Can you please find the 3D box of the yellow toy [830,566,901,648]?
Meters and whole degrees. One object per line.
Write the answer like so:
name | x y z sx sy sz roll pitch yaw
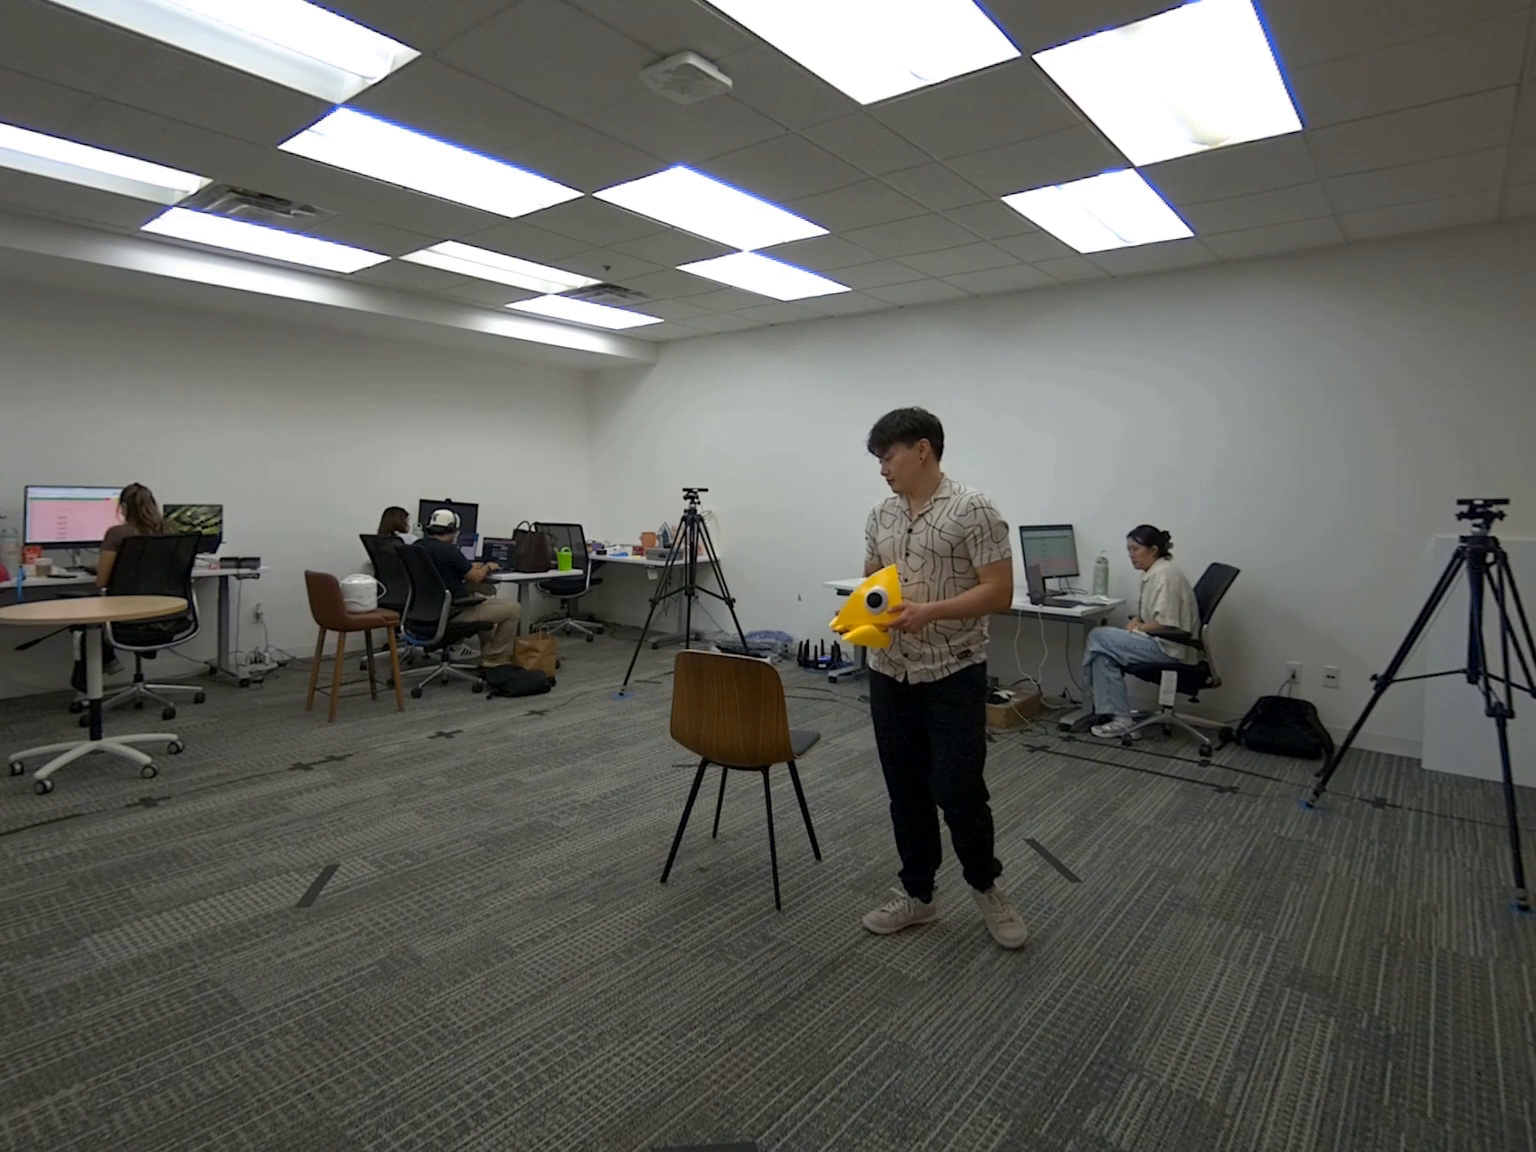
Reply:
yellow toy | 0.309 0.070 2.575 0.190 0.228 0.210 6 12 -13
